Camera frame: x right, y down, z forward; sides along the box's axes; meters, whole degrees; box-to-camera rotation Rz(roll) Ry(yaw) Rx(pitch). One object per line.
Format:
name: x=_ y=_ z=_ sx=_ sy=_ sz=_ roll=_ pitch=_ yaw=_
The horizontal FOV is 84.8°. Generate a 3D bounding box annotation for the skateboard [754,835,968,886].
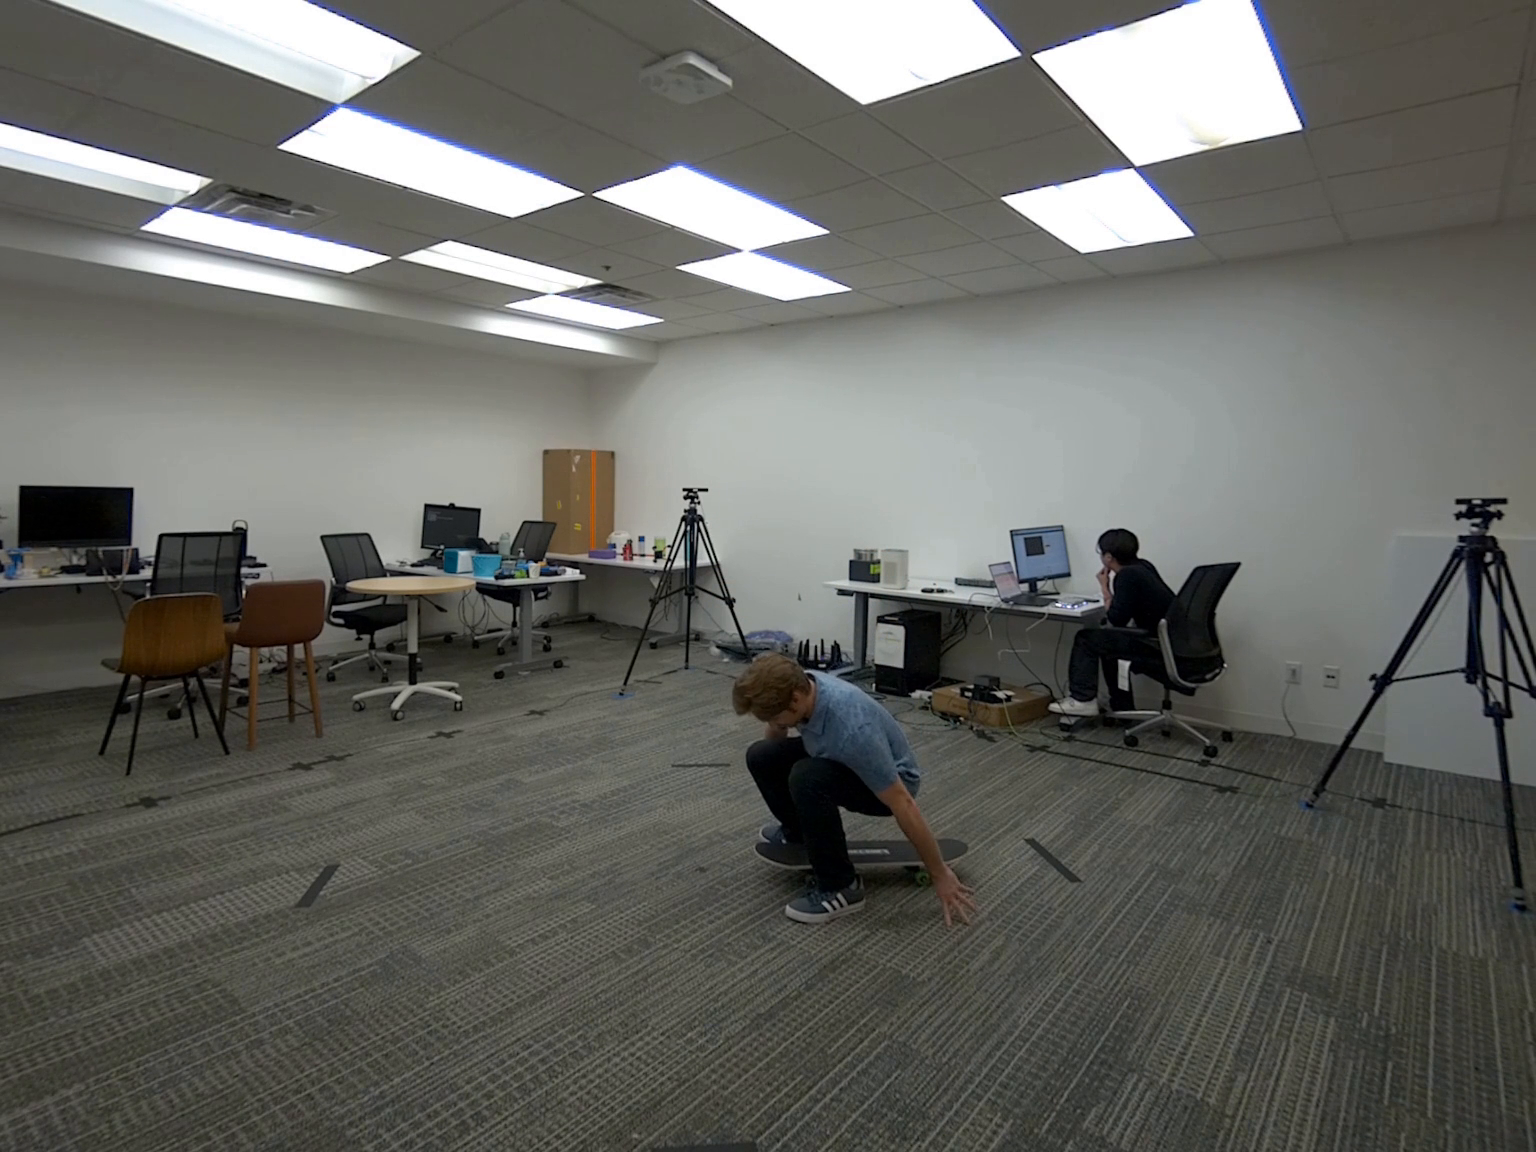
skateboard: x=0.338 y=1.028 z=3.080 sx=0.780 sy=0.110 sz=0.195 roll=1 pitch=5 yaw=-6
